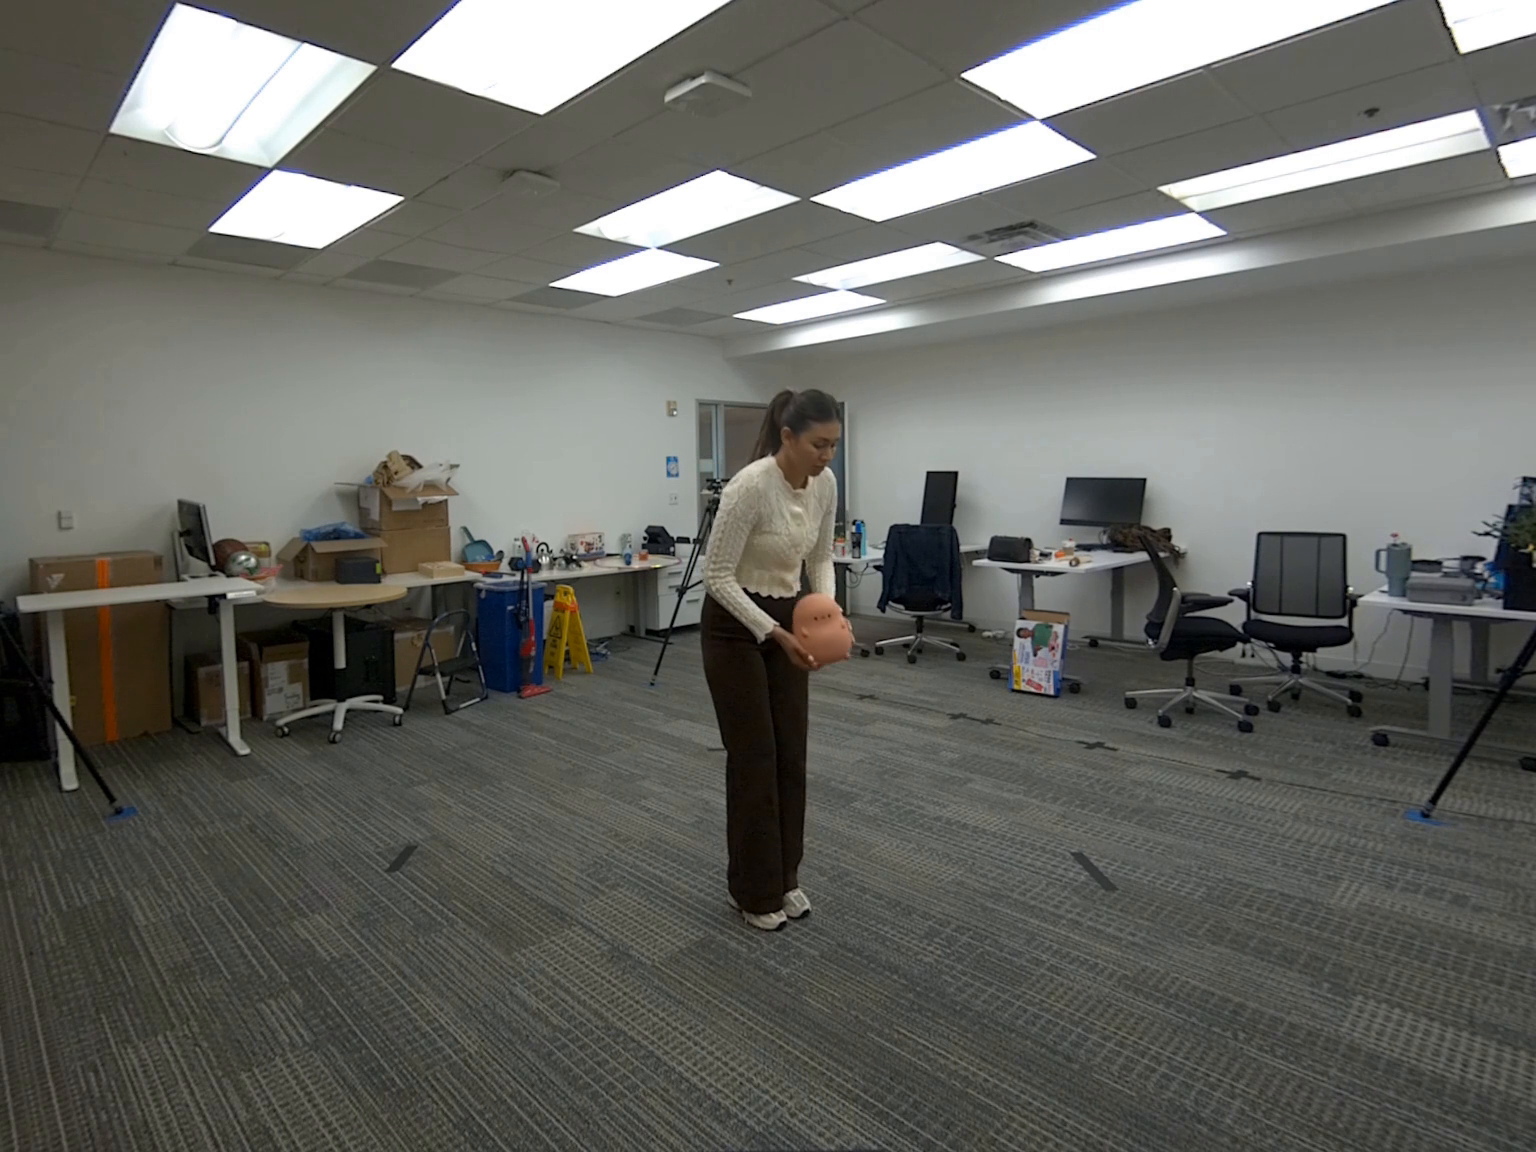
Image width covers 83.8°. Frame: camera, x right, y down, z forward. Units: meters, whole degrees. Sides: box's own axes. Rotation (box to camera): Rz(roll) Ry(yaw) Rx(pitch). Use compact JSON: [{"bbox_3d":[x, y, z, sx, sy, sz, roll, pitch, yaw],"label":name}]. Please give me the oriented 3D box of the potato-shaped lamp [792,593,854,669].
[{"bbox_3d":[0.136,0.165,2.485,0.164,0.196,0.174,-13,9,-9],"label":"potato-shaped lamp"}]
